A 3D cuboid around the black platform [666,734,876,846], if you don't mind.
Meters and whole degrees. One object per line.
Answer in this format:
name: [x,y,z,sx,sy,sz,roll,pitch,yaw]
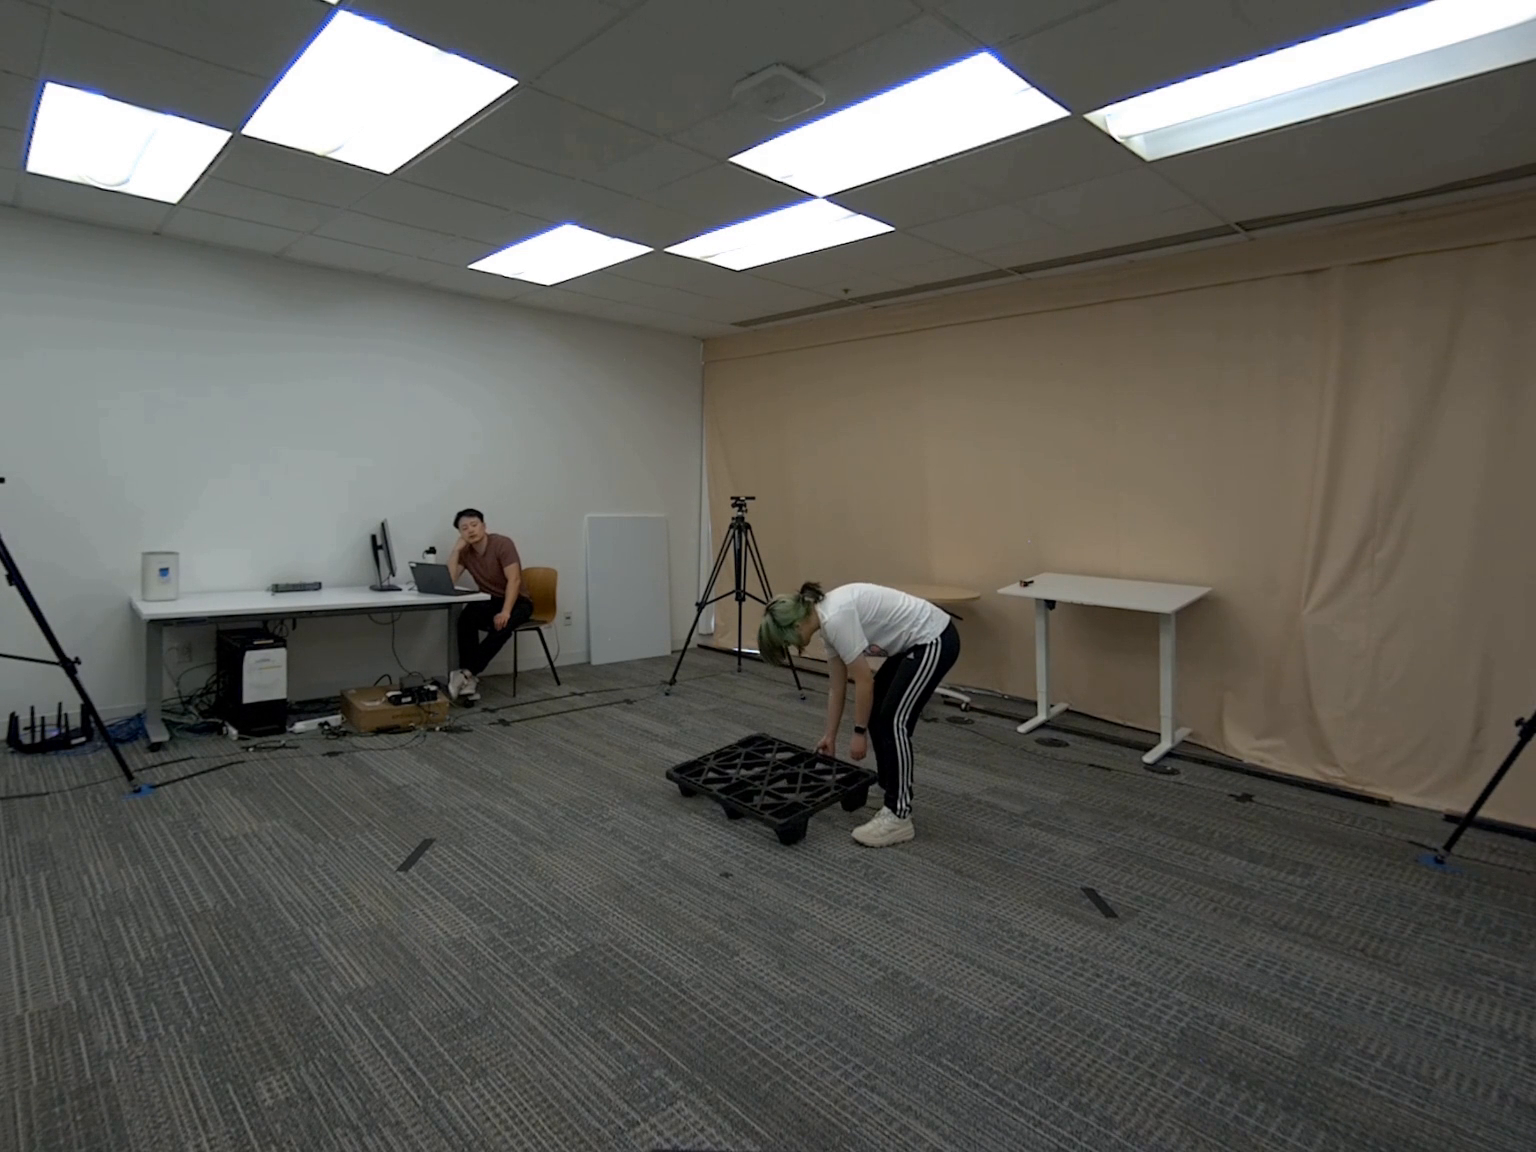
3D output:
black platform: [-0.003,0.948,3.793,0.595,0.142,0.826,-15,14,-39]
